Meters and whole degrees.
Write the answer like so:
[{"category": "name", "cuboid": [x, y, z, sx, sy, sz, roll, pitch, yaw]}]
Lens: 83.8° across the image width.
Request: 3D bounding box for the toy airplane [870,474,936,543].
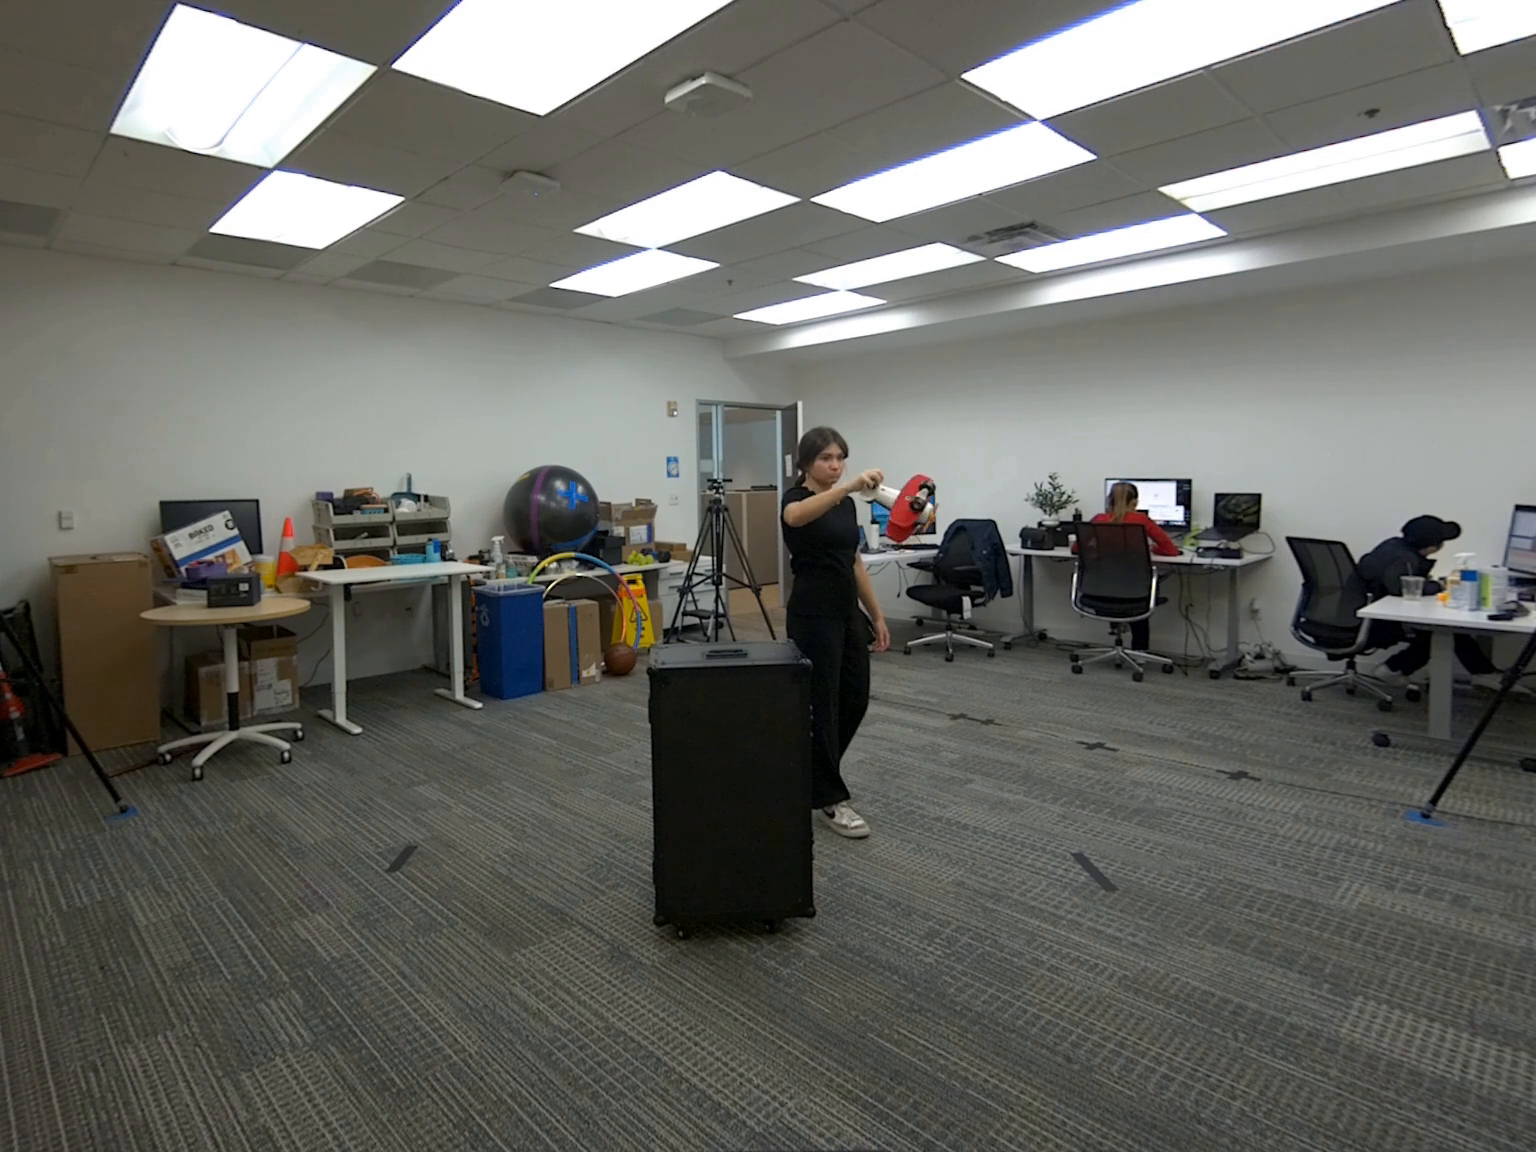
[{"category": "toy airplane", "cuboid": [0.461, -0.281, 2.943, 0.249, 0.151, 0.269, -29, 47, -15]}]
